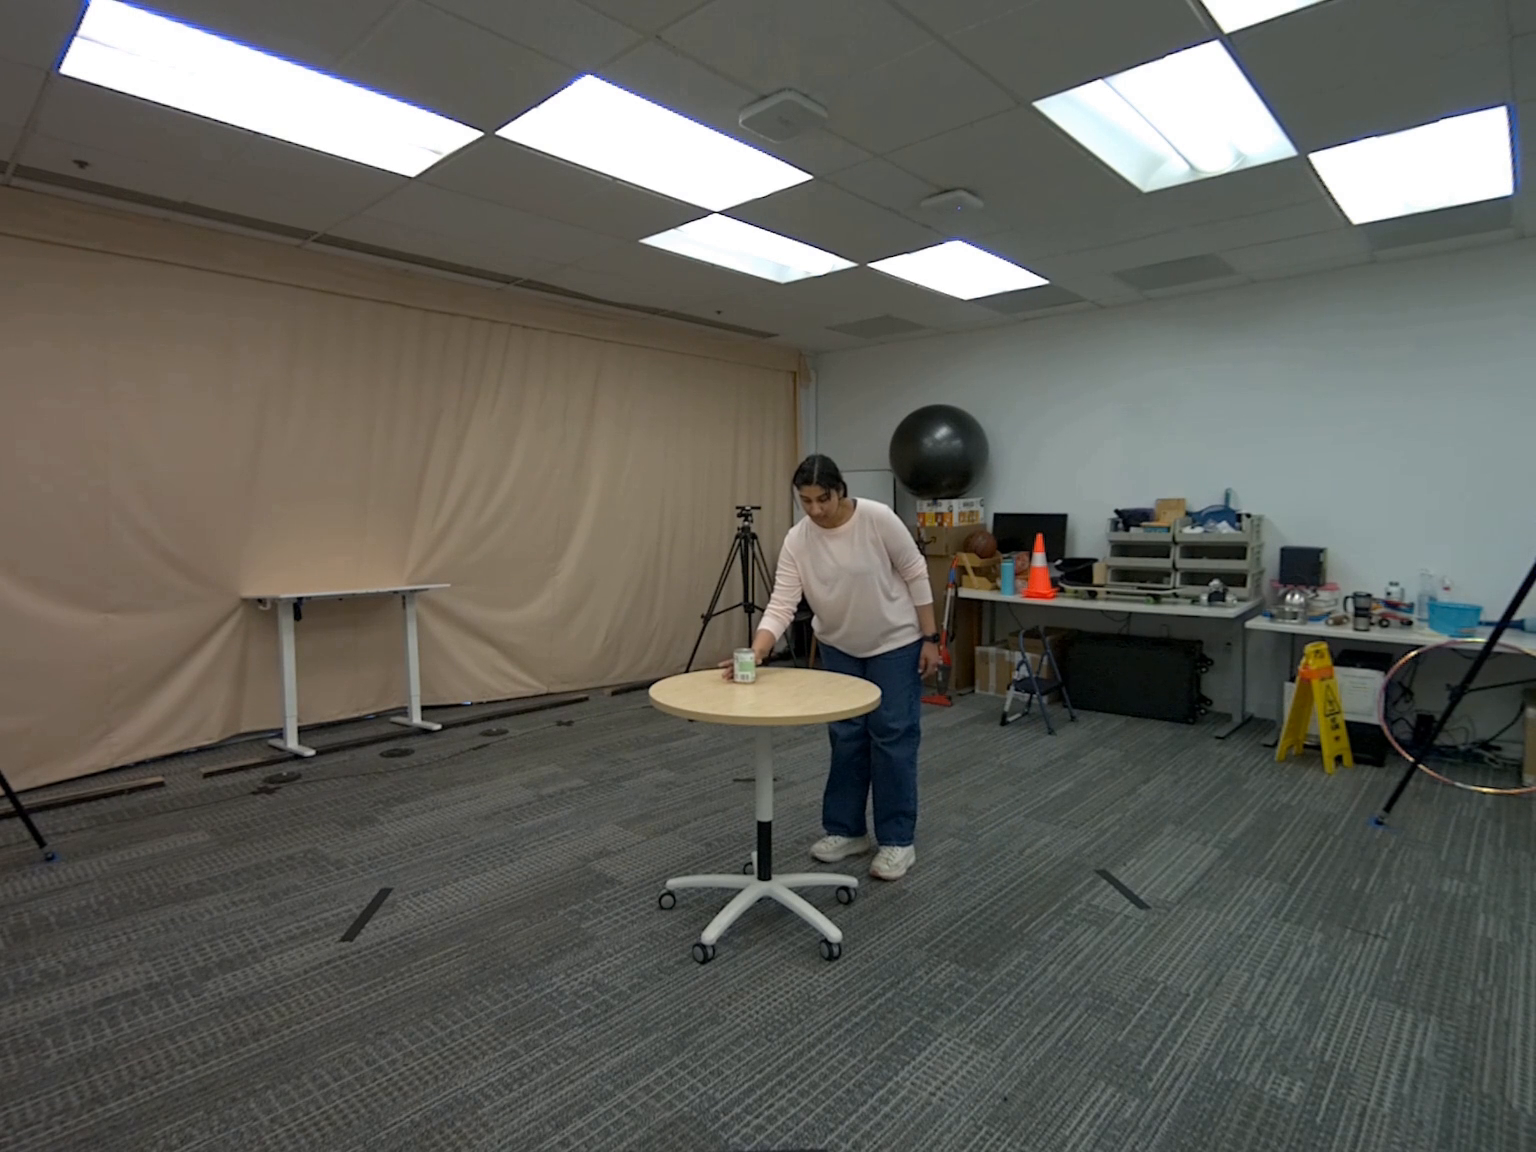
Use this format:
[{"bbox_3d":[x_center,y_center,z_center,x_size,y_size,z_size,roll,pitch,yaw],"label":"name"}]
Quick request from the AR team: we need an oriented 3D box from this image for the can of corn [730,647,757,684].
[{"bbox_3d":[-0.077,0.311,2.904,0.074,0.111,0.074,-1,2,-2],"label":"can of corn"}]
